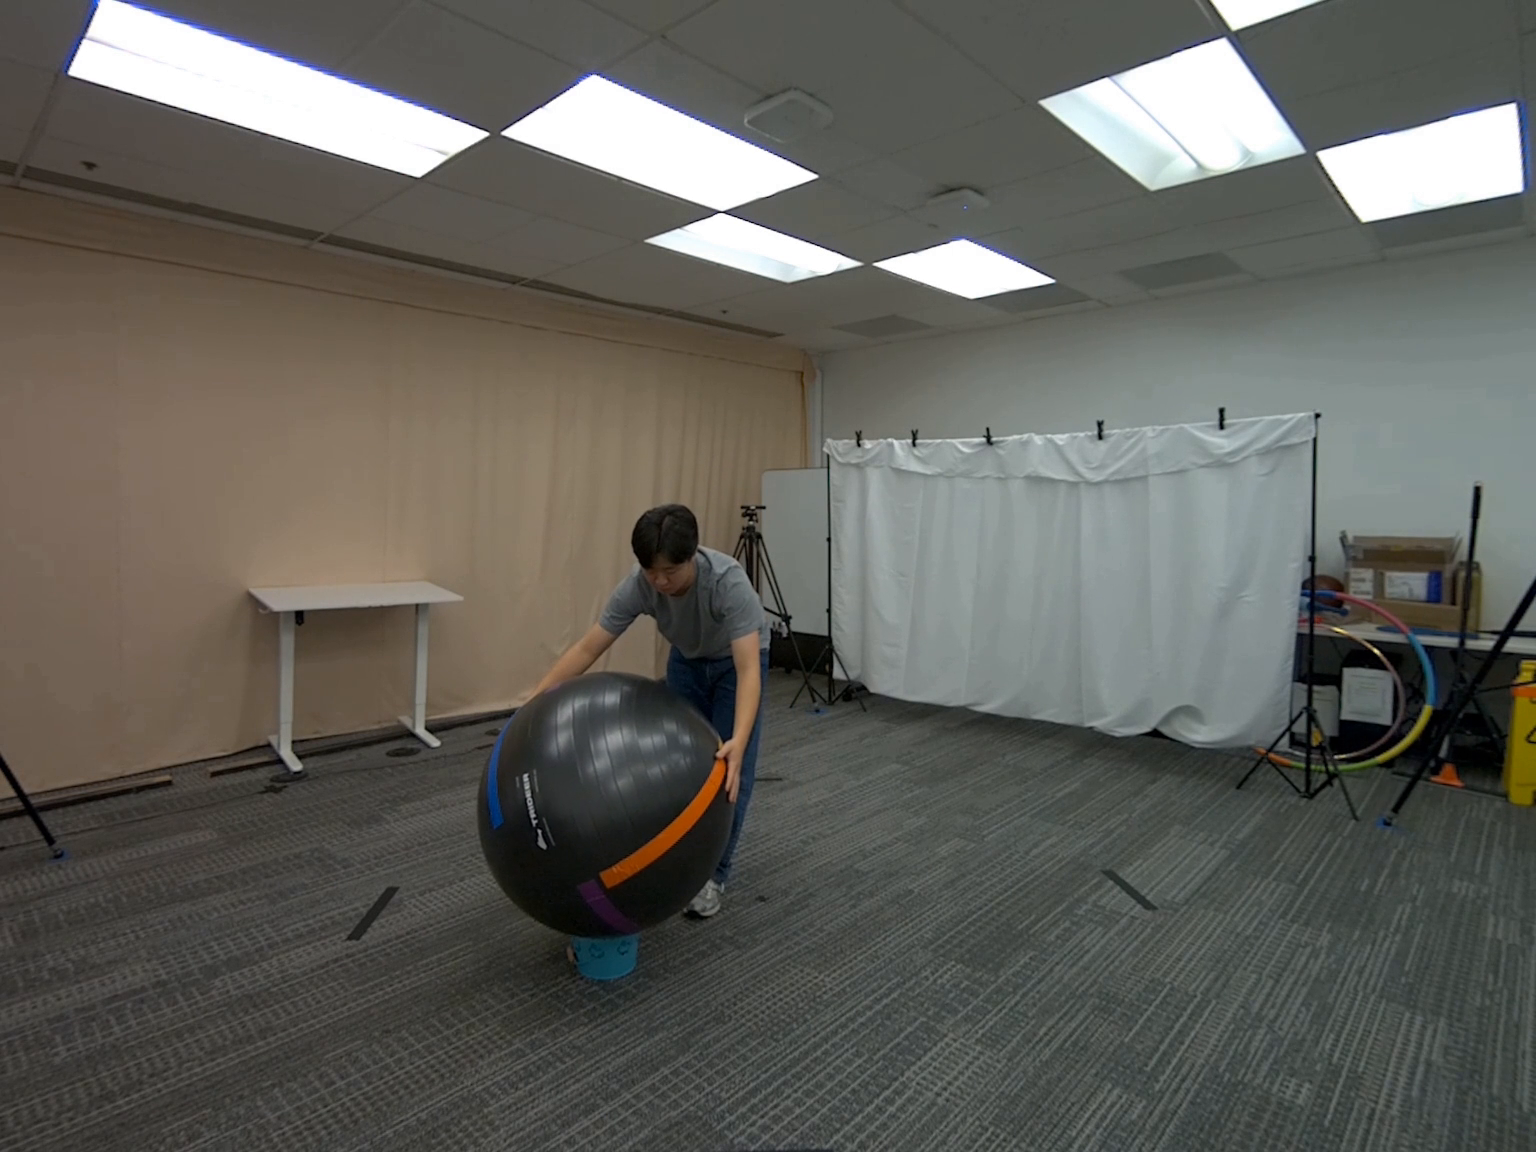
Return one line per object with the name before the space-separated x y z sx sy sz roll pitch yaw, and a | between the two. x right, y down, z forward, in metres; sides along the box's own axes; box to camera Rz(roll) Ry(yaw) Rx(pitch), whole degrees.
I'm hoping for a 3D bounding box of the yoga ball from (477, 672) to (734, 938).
yoga ball | -0.485 0.678 2.527 0.757 0.756 0.760 0 4 -2
